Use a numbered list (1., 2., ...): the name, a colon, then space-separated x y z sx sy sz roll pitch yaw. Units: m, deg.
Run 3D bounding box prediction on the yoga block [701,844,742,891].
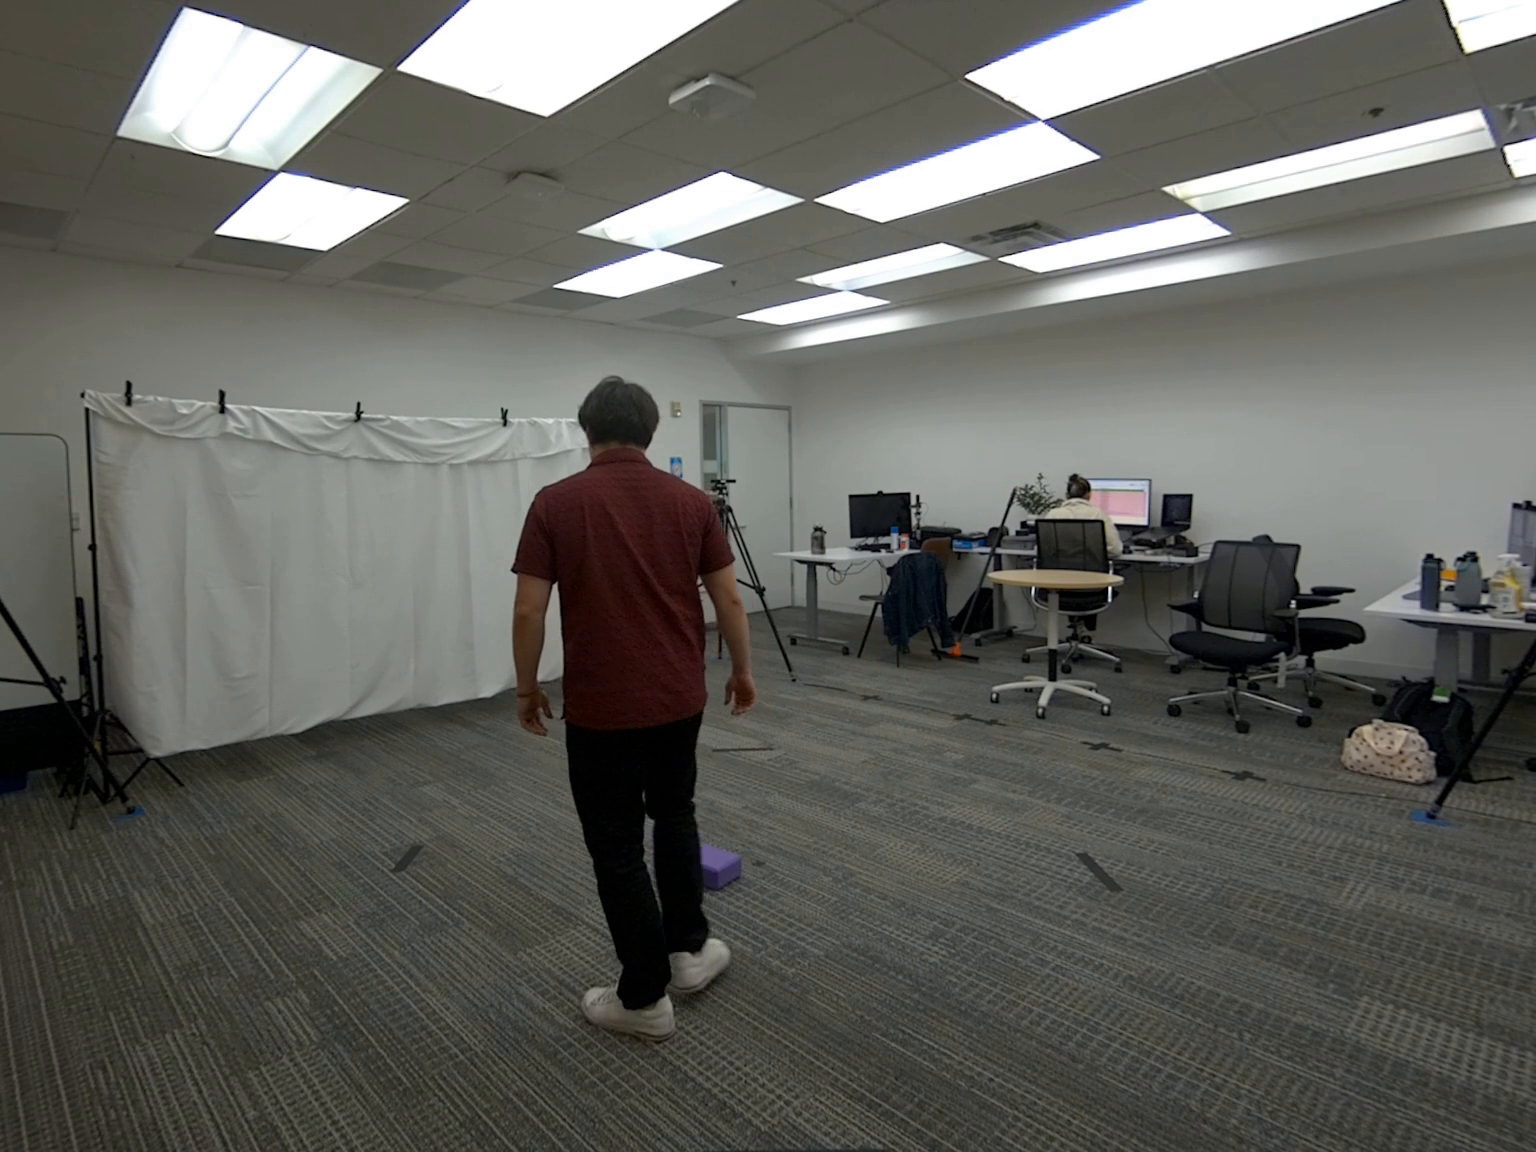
1. yoga block: -0.223 1.019 3.020 0.236 0.076 0.145 4 7 37
